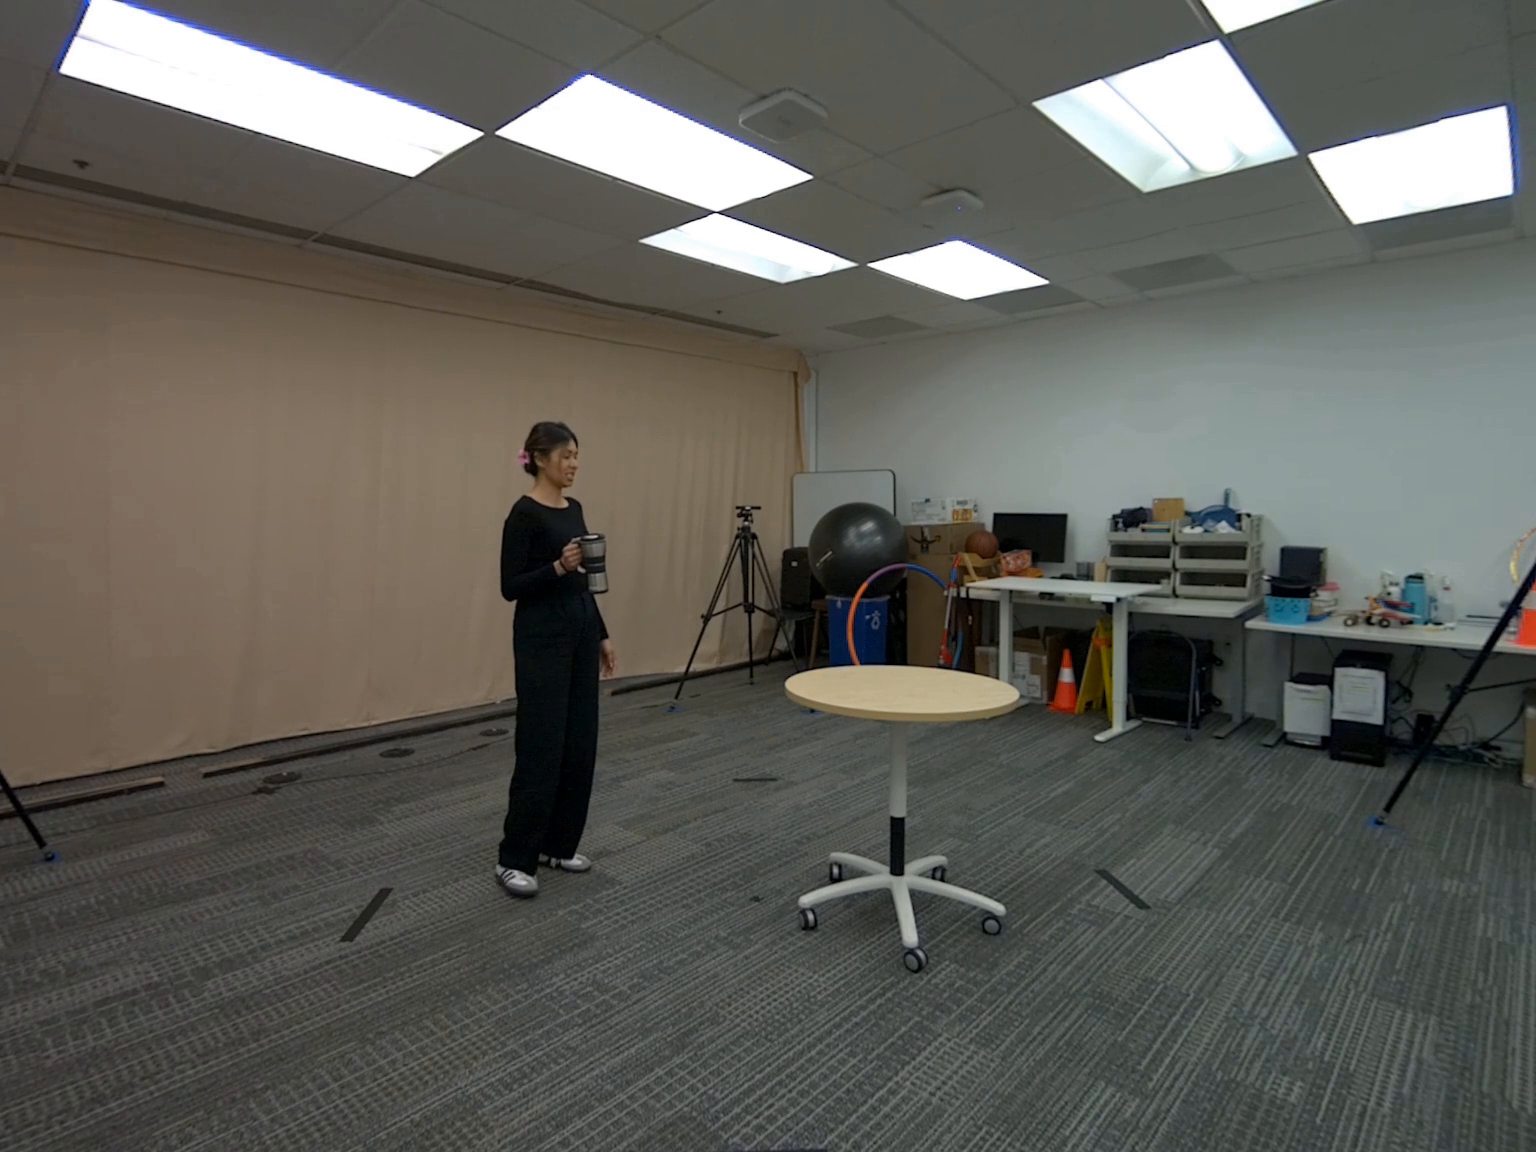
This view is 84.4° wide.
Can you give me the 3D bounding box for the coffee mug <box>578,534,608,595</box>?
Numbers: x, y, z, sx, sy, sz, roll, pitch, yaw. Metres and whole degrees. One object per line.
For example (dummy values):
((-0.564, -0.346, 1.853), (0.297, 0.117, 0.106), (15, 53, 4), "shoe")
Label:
((-0.630, -0.041, 2.958), (0.126, 0.201, 0.085), (10, 18, 43), "coffee mug")
